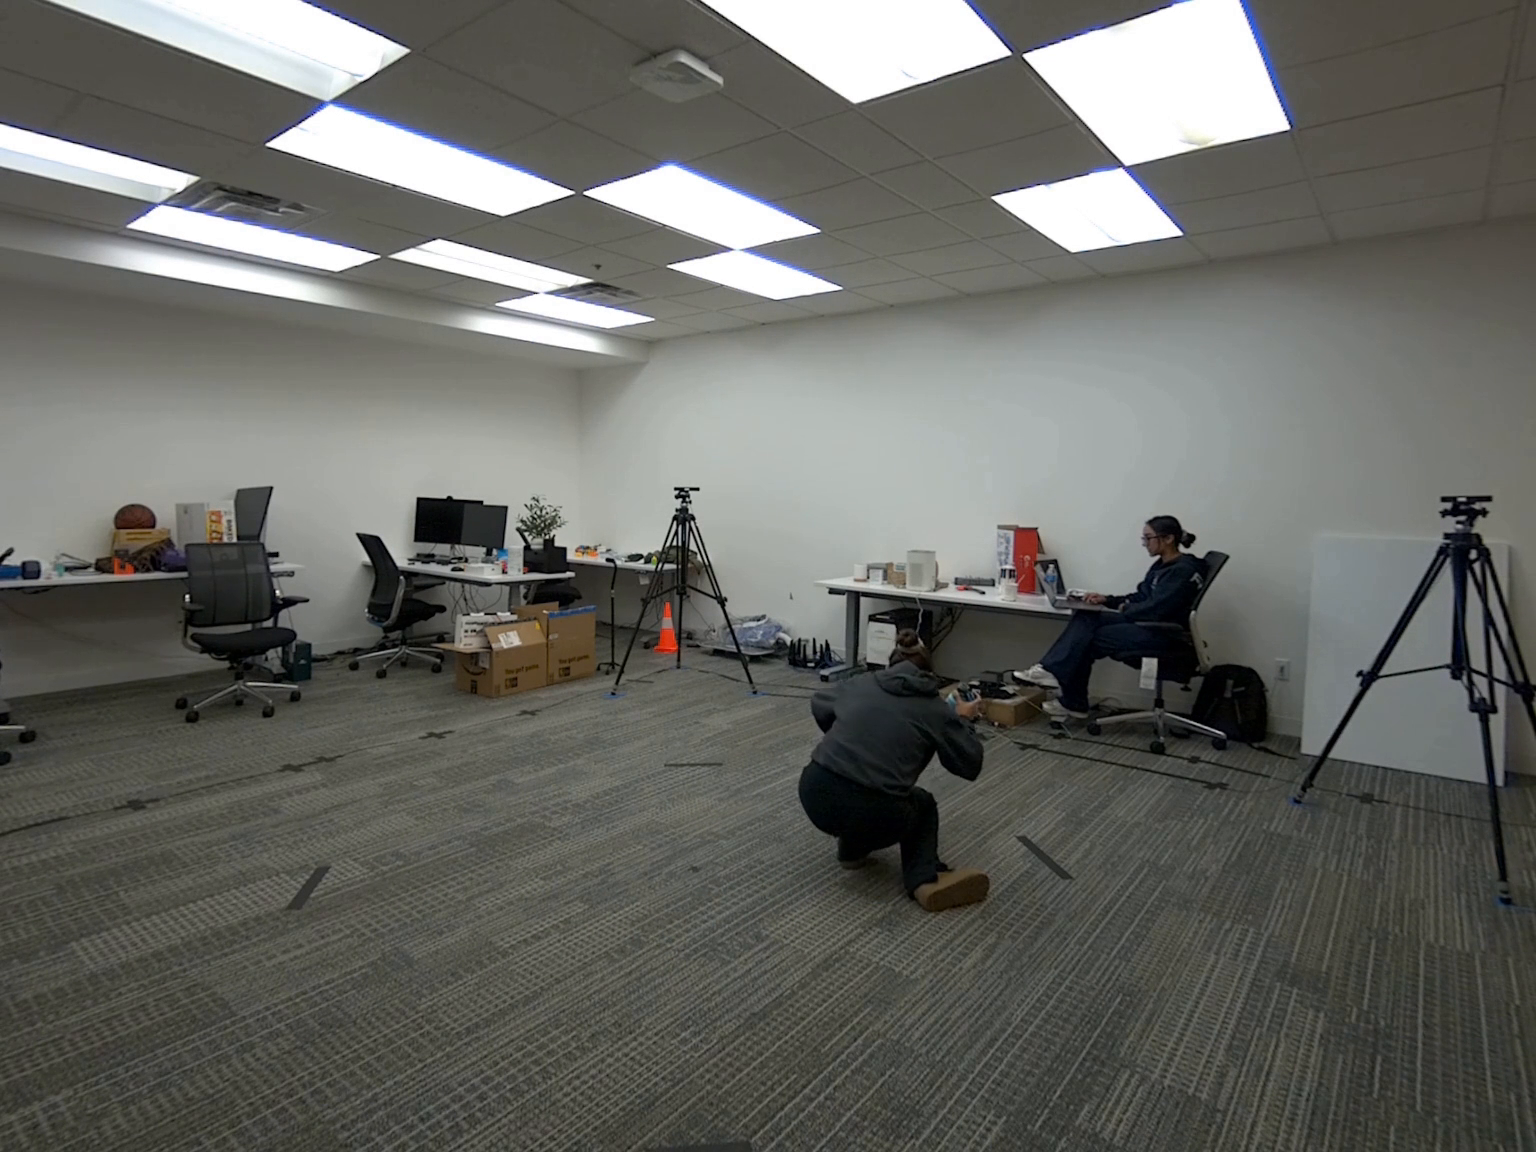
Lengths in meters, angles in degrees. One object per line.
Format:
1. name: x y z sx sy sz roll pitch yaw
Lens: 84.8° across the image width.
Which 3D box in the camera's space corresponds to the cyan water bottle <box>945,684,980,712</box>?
1. cyan water bottle: 0.728 0.543 3.400 0.091 0.281 0.094 21 22 -11
